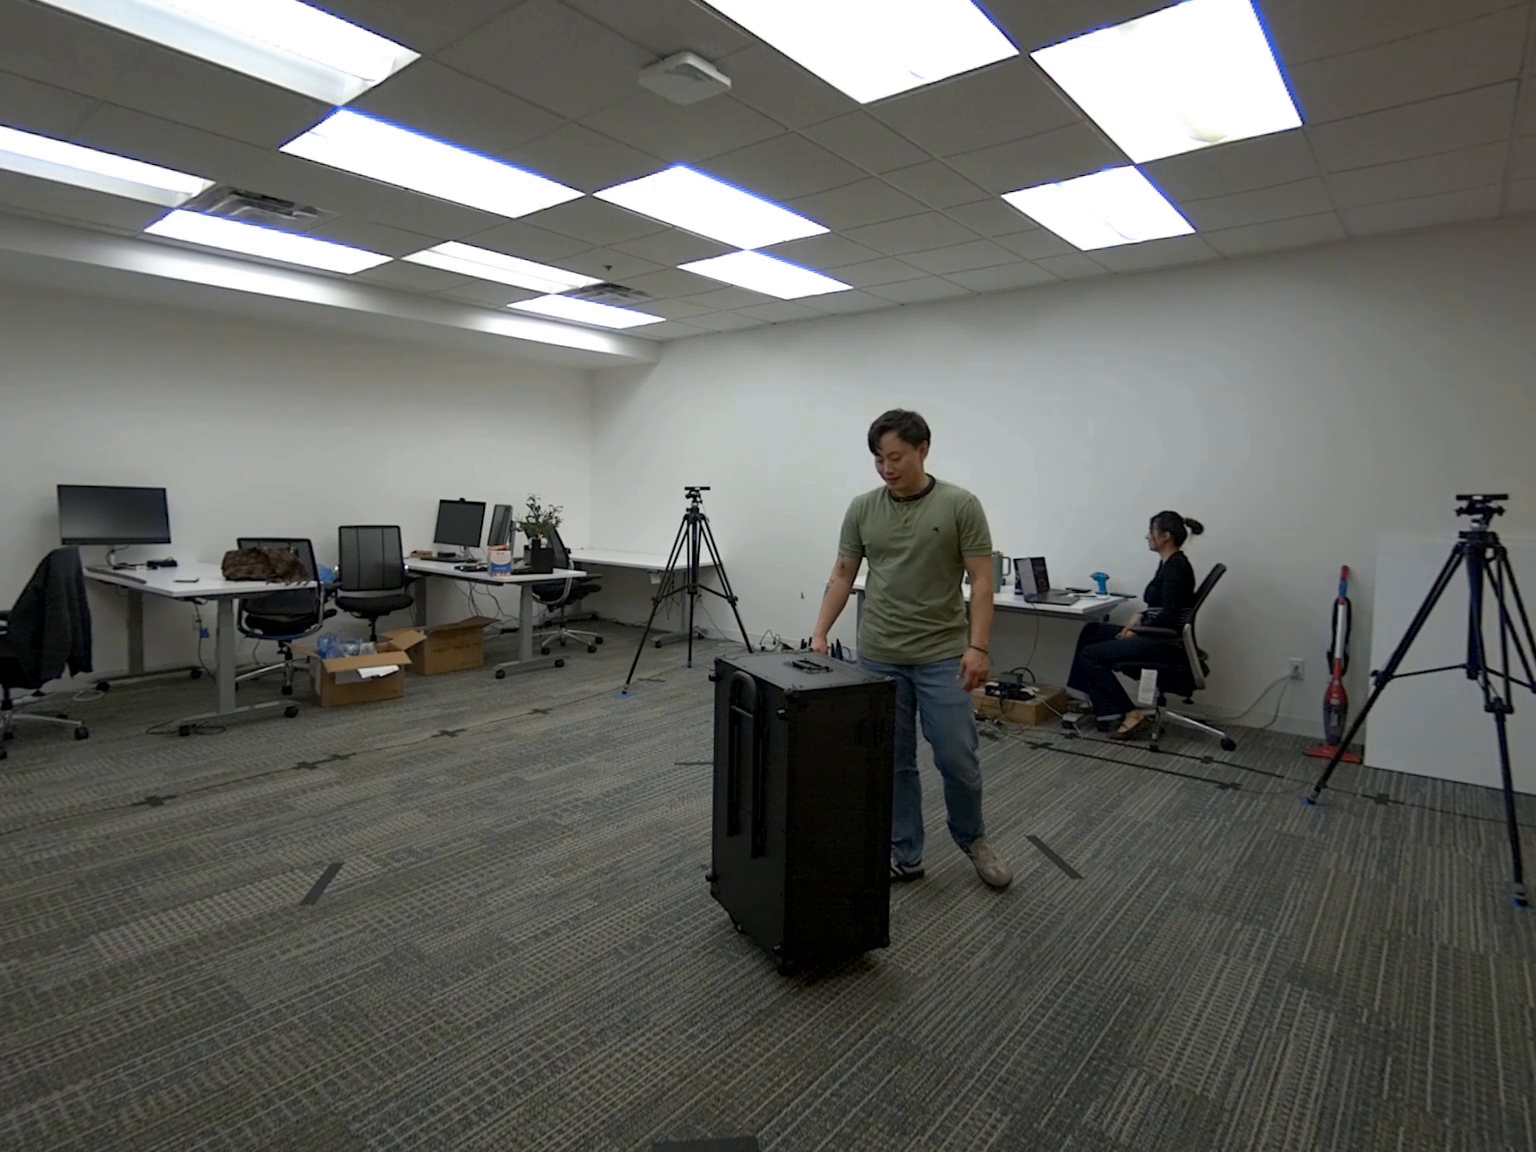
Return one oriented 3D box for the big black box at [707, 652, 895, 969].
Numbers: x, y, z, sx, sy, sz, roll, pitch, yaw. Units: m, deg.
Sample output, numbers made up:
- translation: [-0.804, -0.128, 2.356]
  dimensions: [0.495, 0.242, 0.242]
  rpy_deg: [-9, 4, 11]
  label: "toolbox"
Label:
- translation: [0.080, 0.697, 2.568]
  dimensions: [0.386, 0.858, 0.537]
  rpy_deg: [-1, 5, -29]
  label: "big black box"
